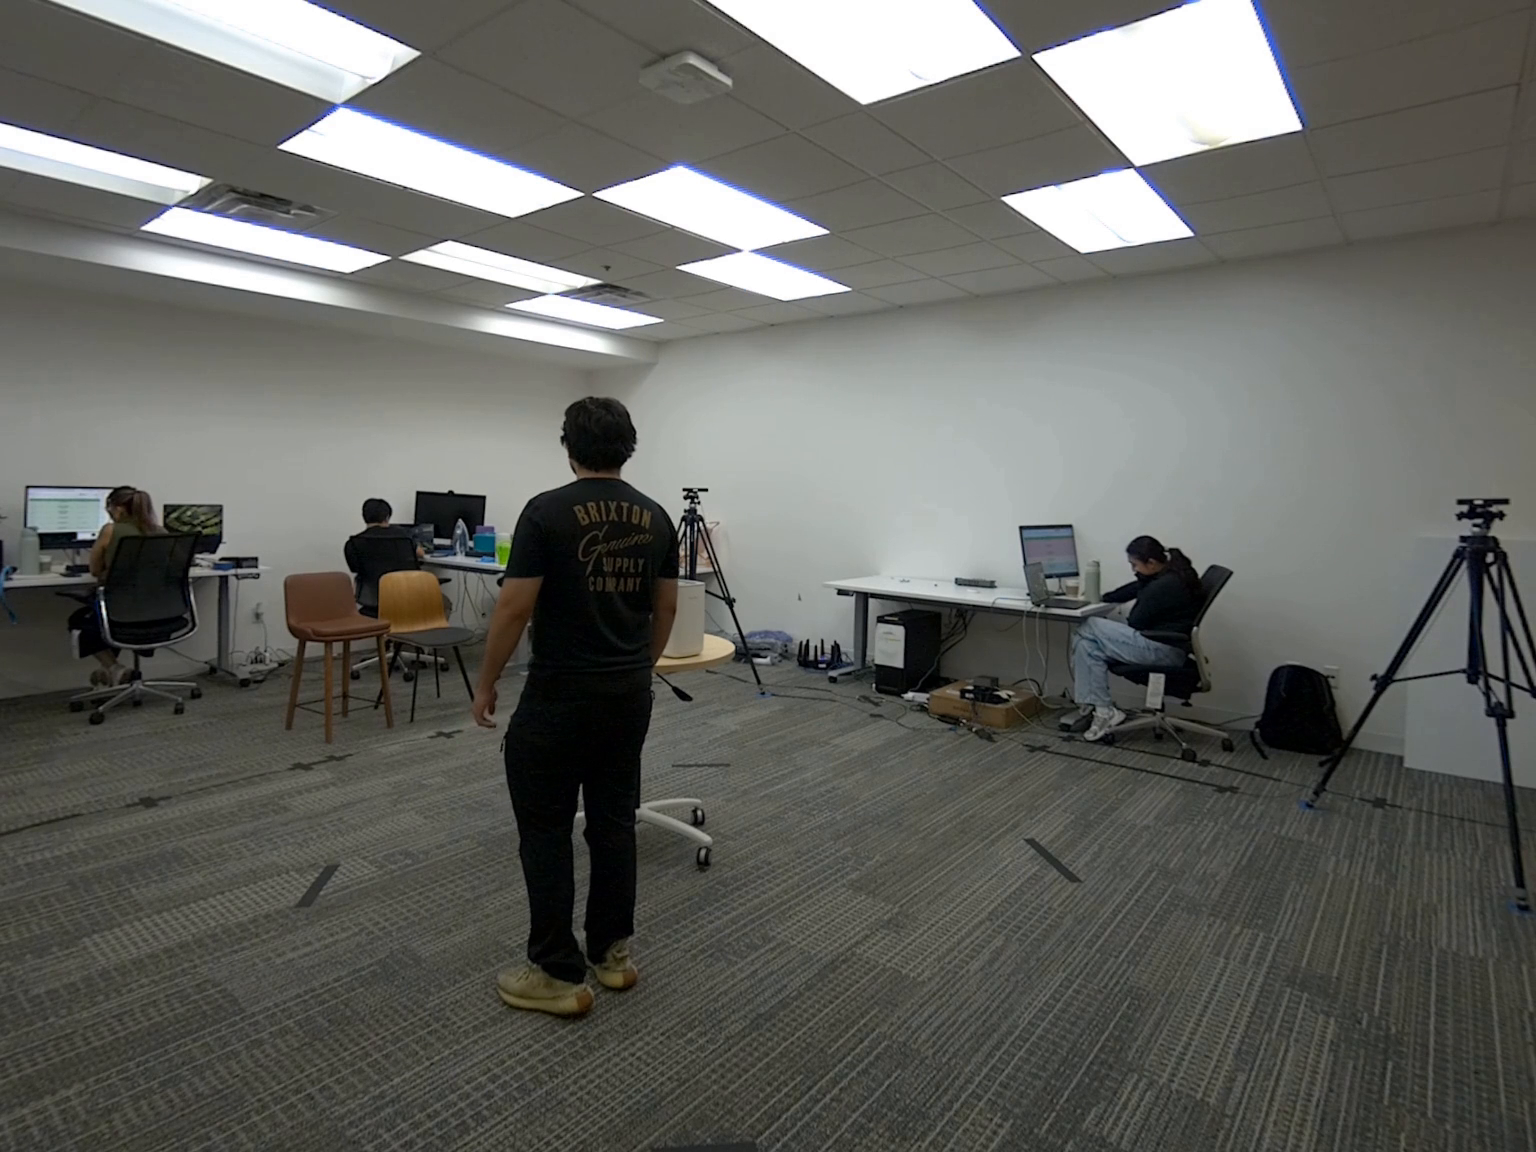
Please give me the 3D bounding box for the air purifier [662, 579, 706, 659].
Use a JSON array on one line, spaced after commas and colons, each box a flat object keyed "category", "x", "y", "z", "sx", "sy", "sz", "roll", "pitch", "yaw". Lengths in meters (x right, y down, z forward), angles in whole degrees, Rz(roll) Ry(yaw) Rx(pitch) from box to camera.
[{"category": "air purifier", "x": -0.340, "y": 0.153, "z": 3.131, "sx": 0.177, "sy": 0.265, "sz": 0.166, "roll": 6, "pitch": 5, "yaw": 45}]
